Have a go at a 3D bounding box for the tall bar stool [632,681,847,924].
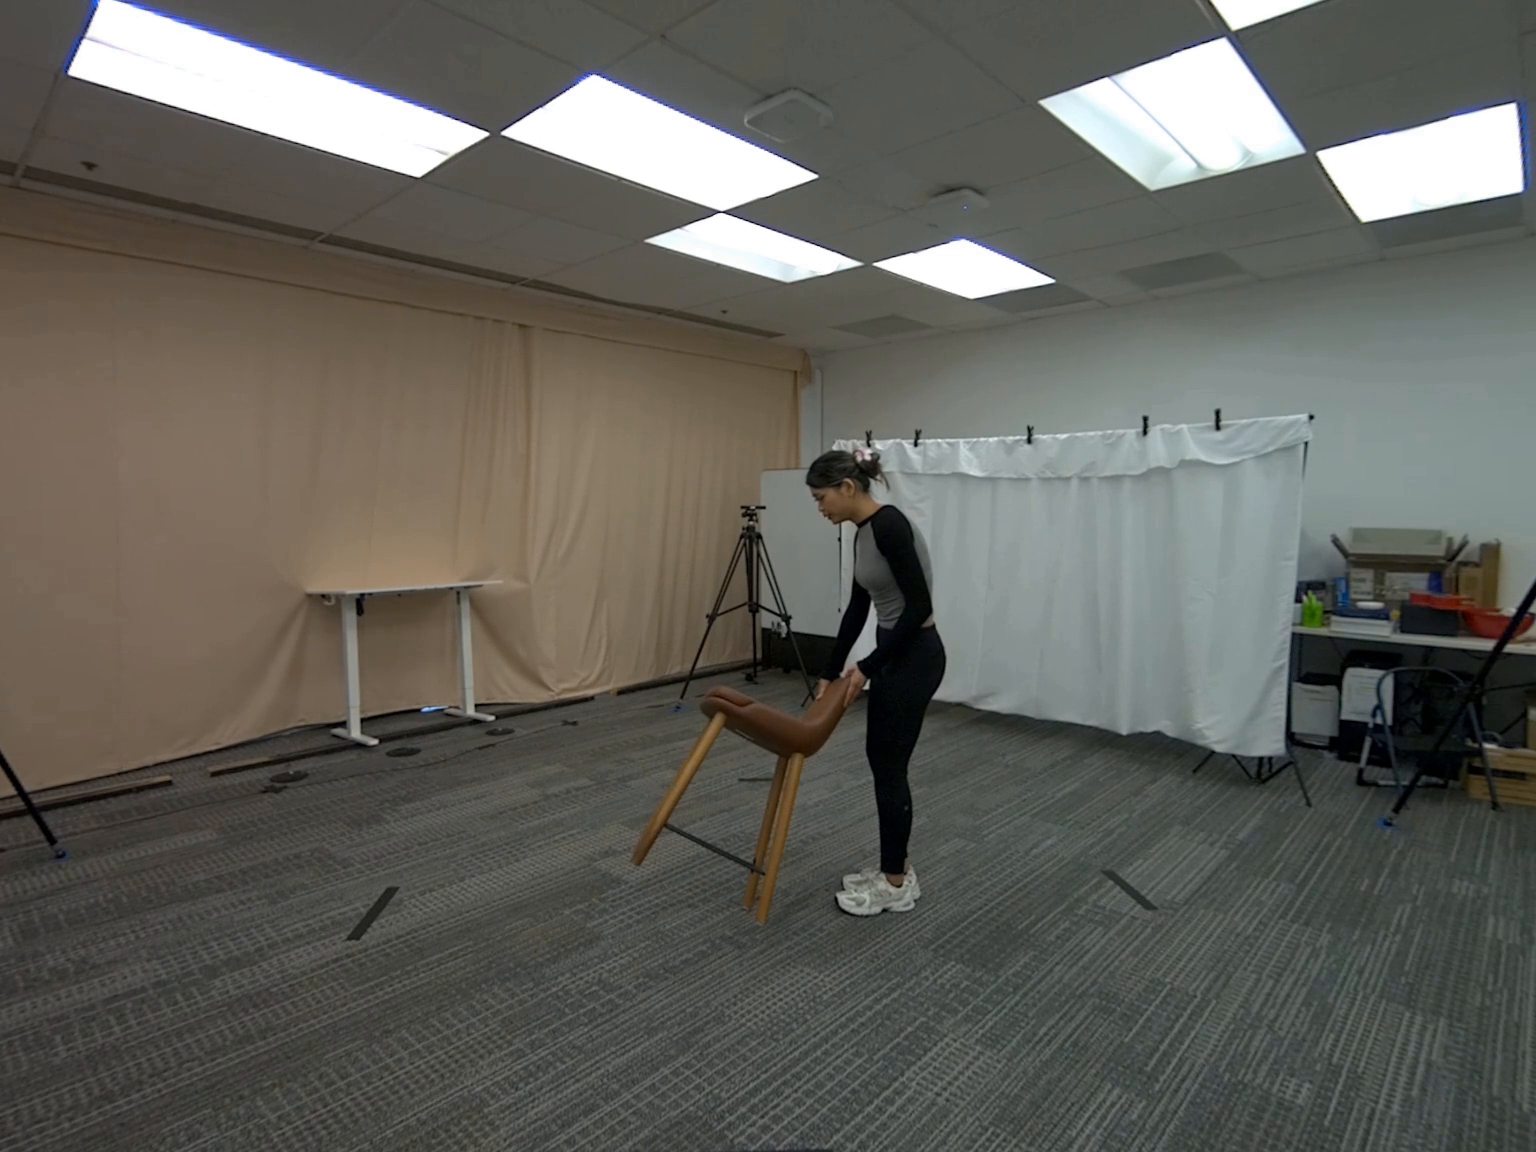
[{"bbox_3d":[-0.063,0.645,2.867,0.470,0.891,0.454,26,-16,2],"label":"tall bar stool"}]
